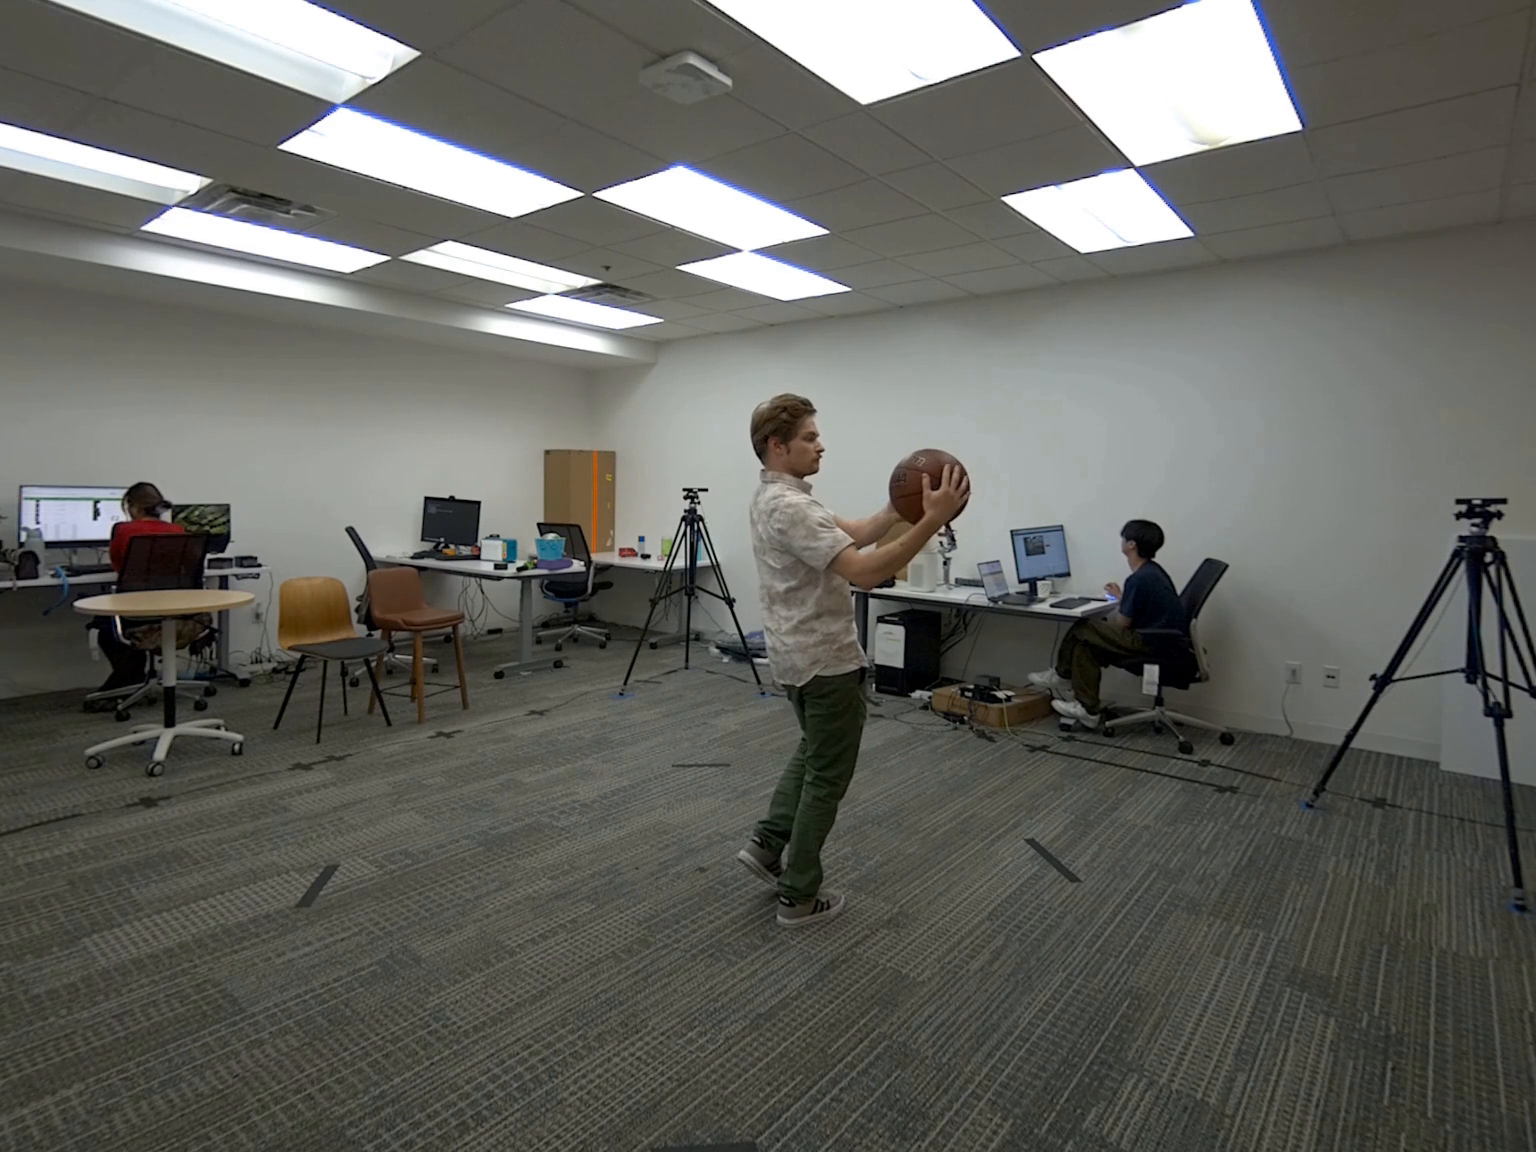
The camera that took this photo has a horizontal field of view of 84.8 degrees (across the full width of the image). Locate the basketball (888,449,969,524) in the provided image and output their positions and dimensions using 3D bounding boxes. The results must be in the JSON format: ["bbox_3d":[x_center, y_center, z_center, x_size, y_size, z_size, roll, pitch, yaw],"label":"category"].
[{"bbox_3d":[0.495,-0.270,2.569,0.235,0.235,0.237,1,4,-2],"label":"basketball"}]
